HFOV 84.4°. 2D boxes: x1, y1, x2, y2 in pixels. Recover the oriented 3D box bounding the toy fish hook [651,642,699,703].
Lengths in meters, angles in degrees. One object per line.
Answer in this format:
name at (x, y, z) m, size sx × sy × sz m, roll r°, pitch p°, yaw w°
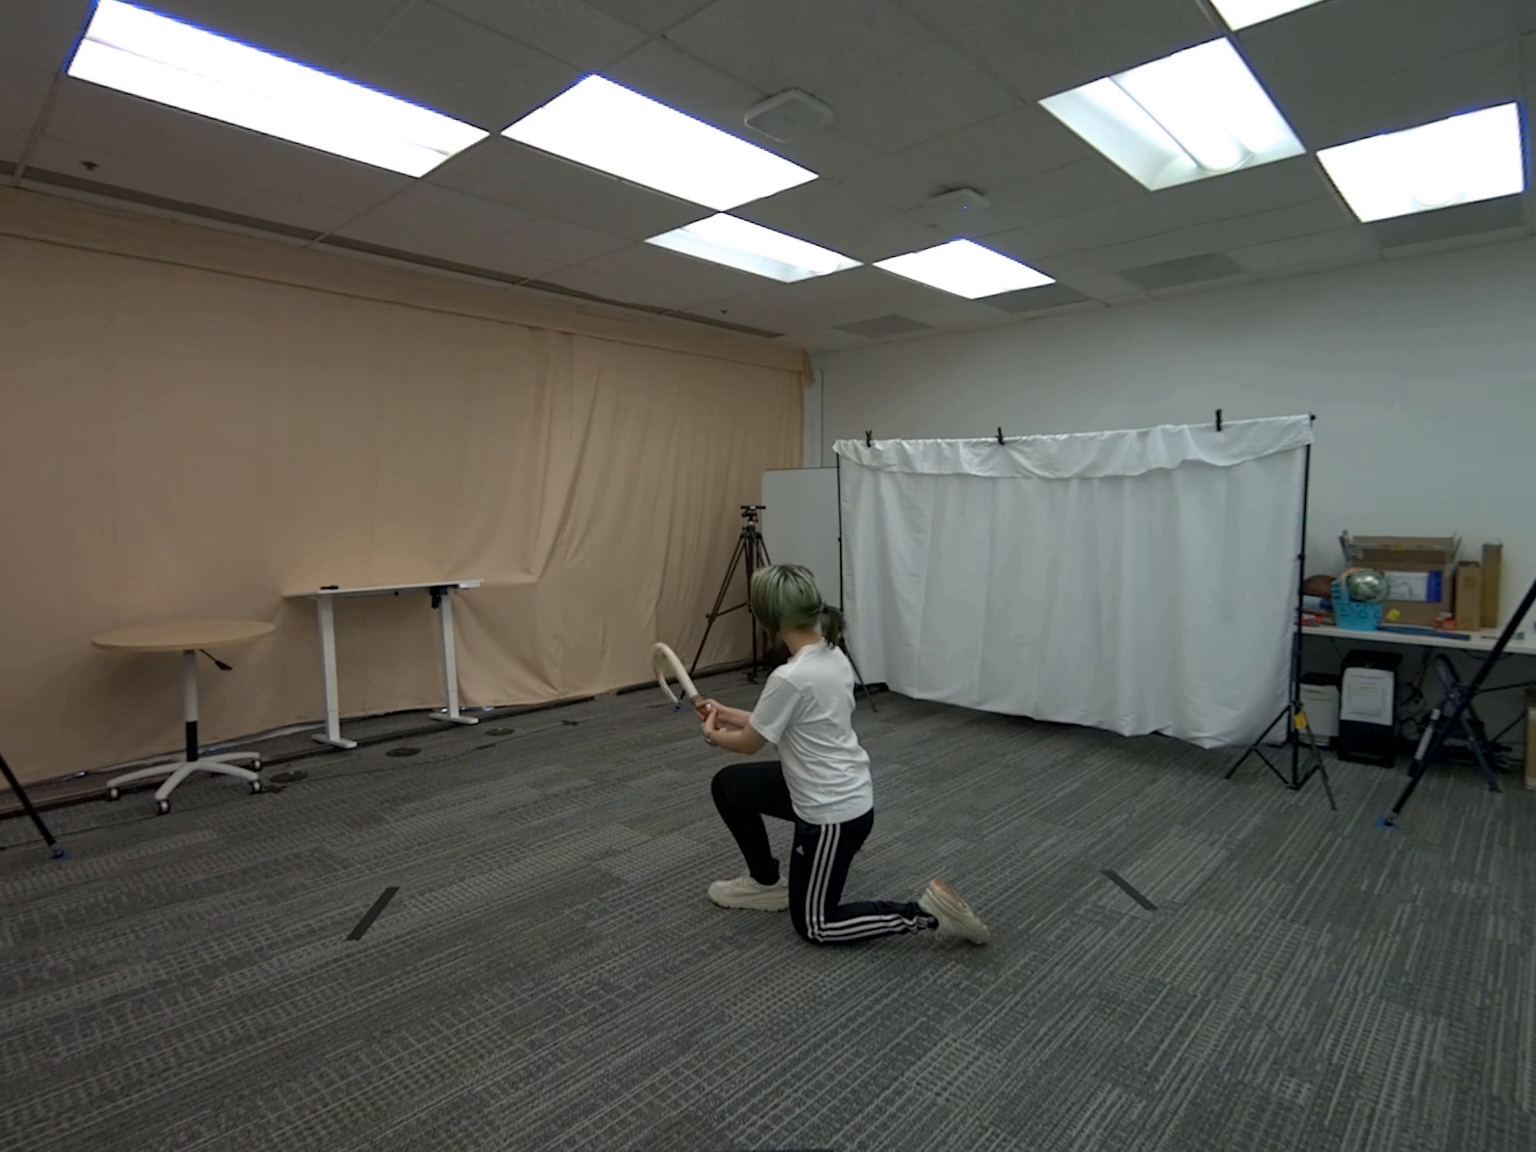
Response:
toy fish hook at (-0.297, 0.465, 3.169) m, size 0.047 × 0.221 × 0.524 m, roll -19°, pitch 45°, yaw -29°
